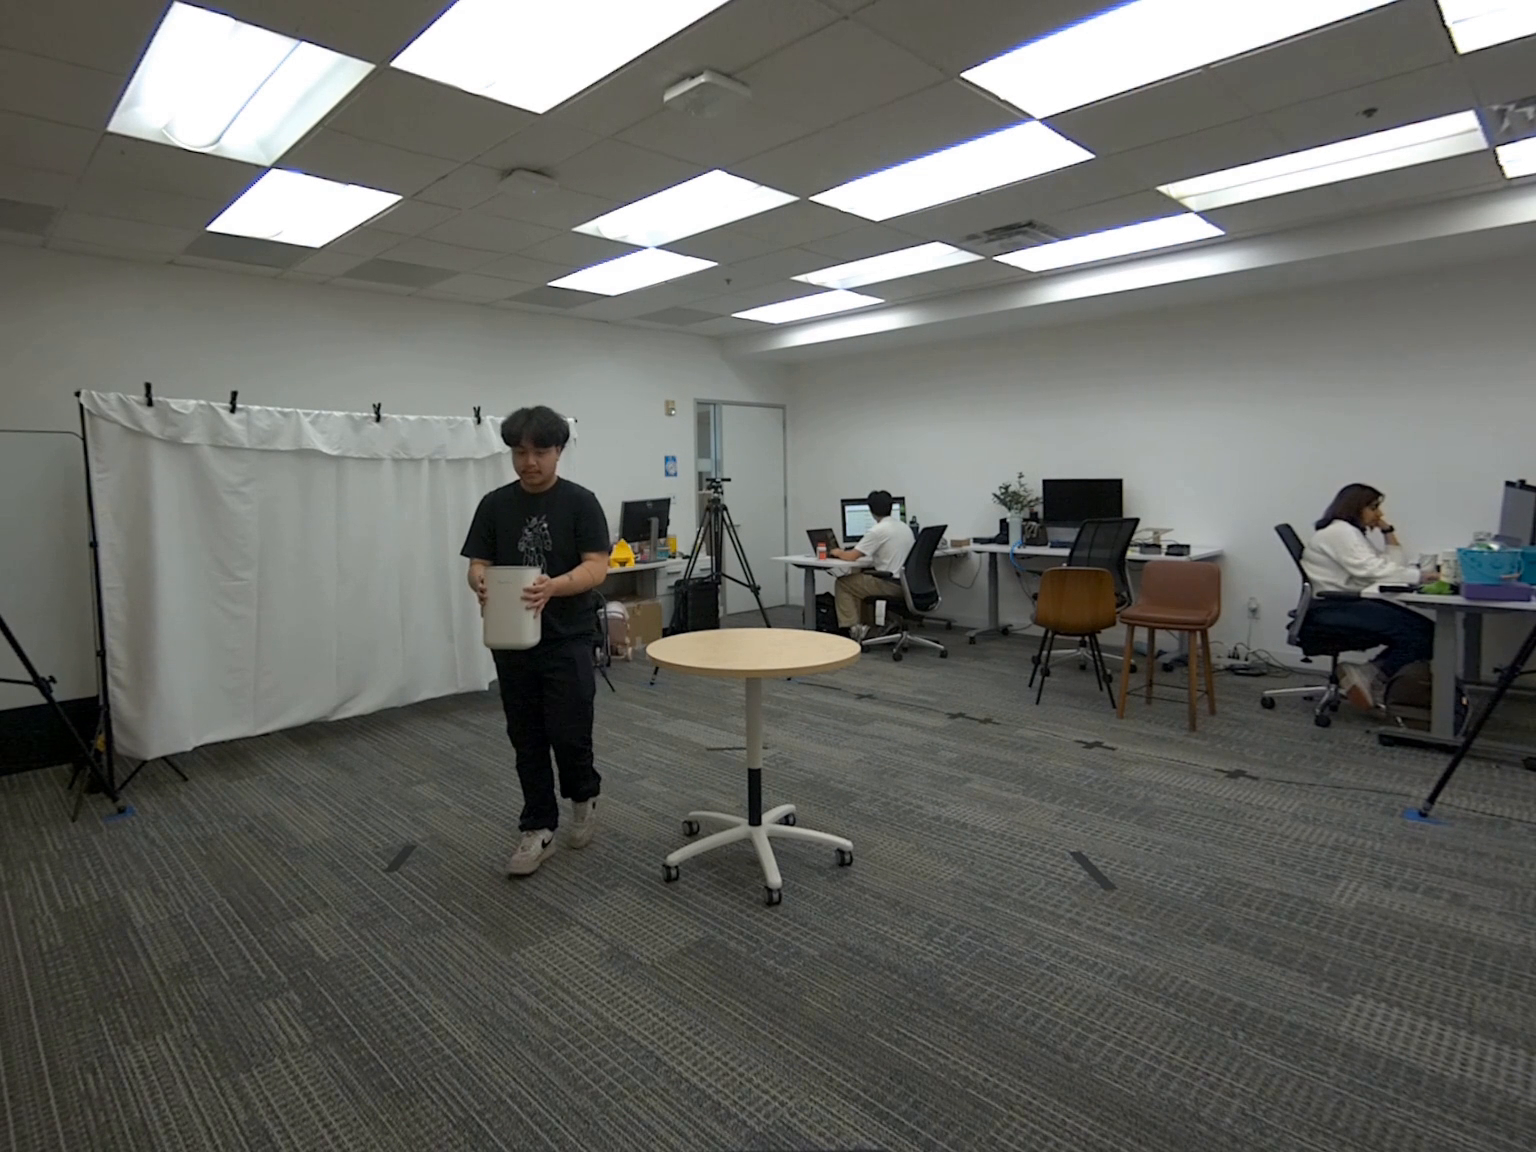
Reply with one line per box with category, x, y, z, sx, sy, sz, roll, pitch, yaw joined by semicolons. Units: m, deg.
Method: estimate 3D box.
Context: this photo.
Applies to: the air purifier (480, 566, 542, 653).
air purifier;-0.831;0.107;2.818;0.171;0.265;0.171;2;1;0
